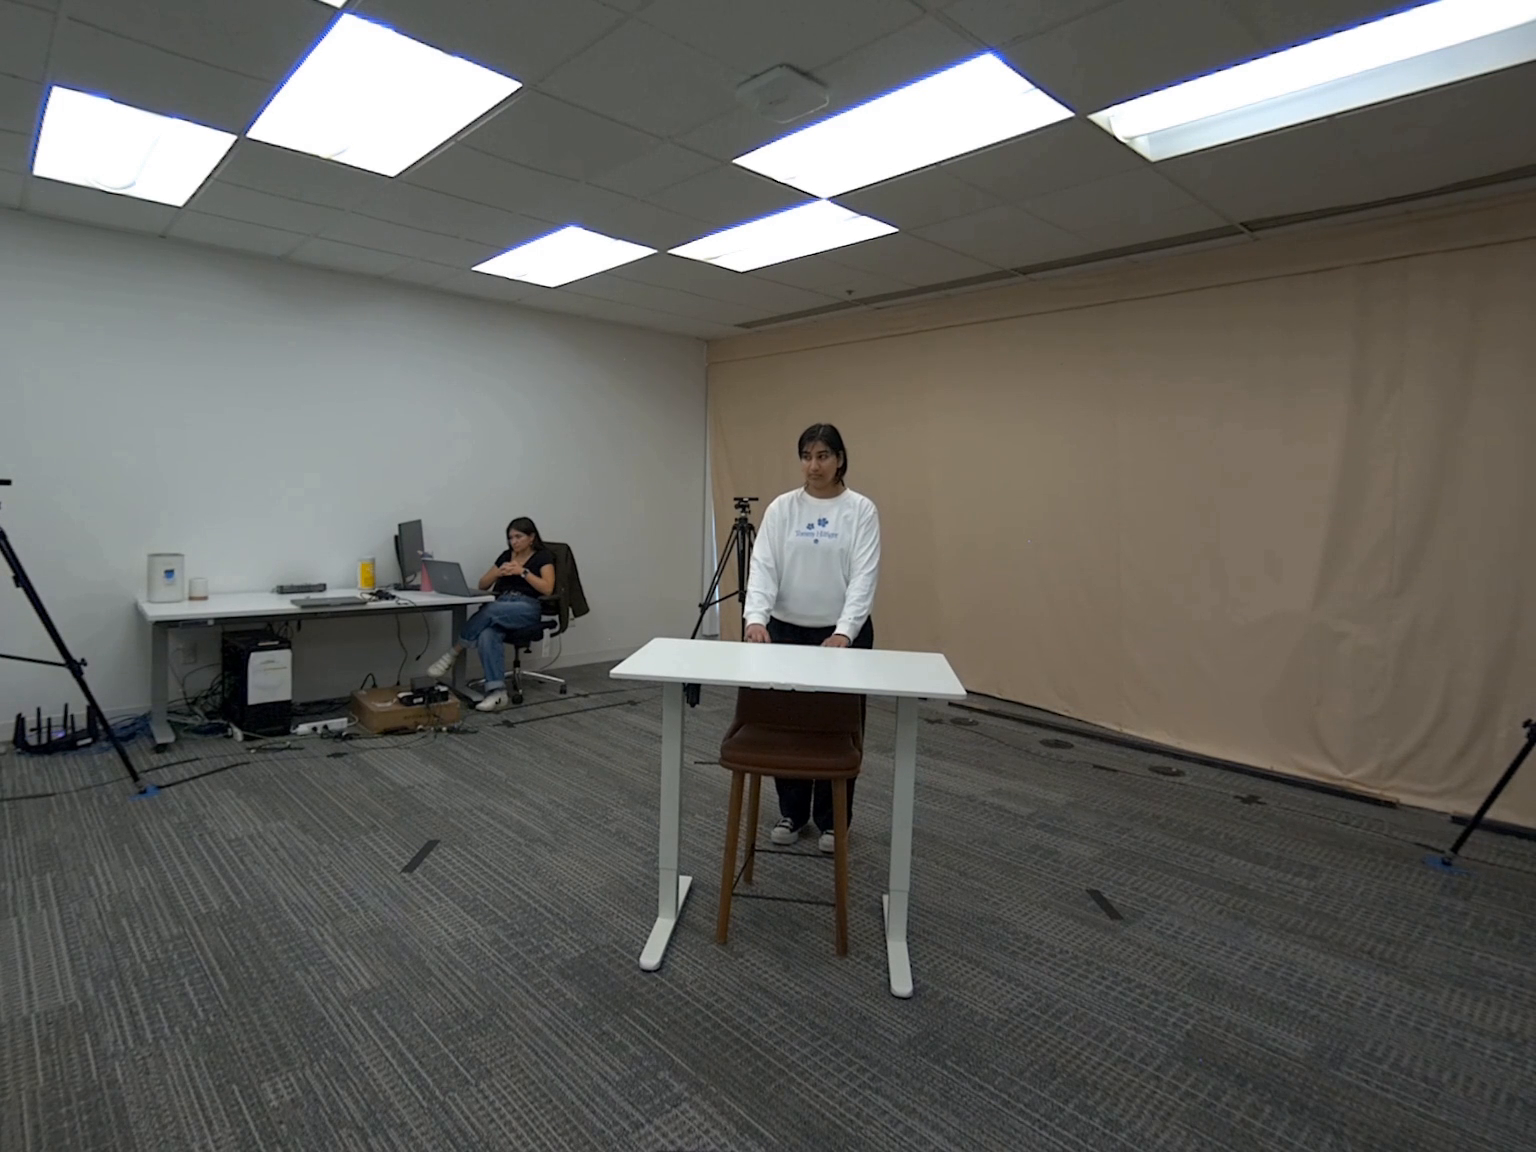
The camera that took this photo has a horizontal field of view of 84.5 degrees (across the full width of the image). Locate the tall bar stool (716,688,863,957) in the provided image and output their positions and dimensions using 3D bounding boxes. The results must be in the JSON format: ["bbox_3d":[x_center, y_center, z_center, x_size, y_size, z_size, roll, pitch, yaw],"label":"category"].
[{"bbox_3d":[0.086,0.710,2.799,0.460,0.889,0.464,2,2,10],"label":"tall bar stool"}]
